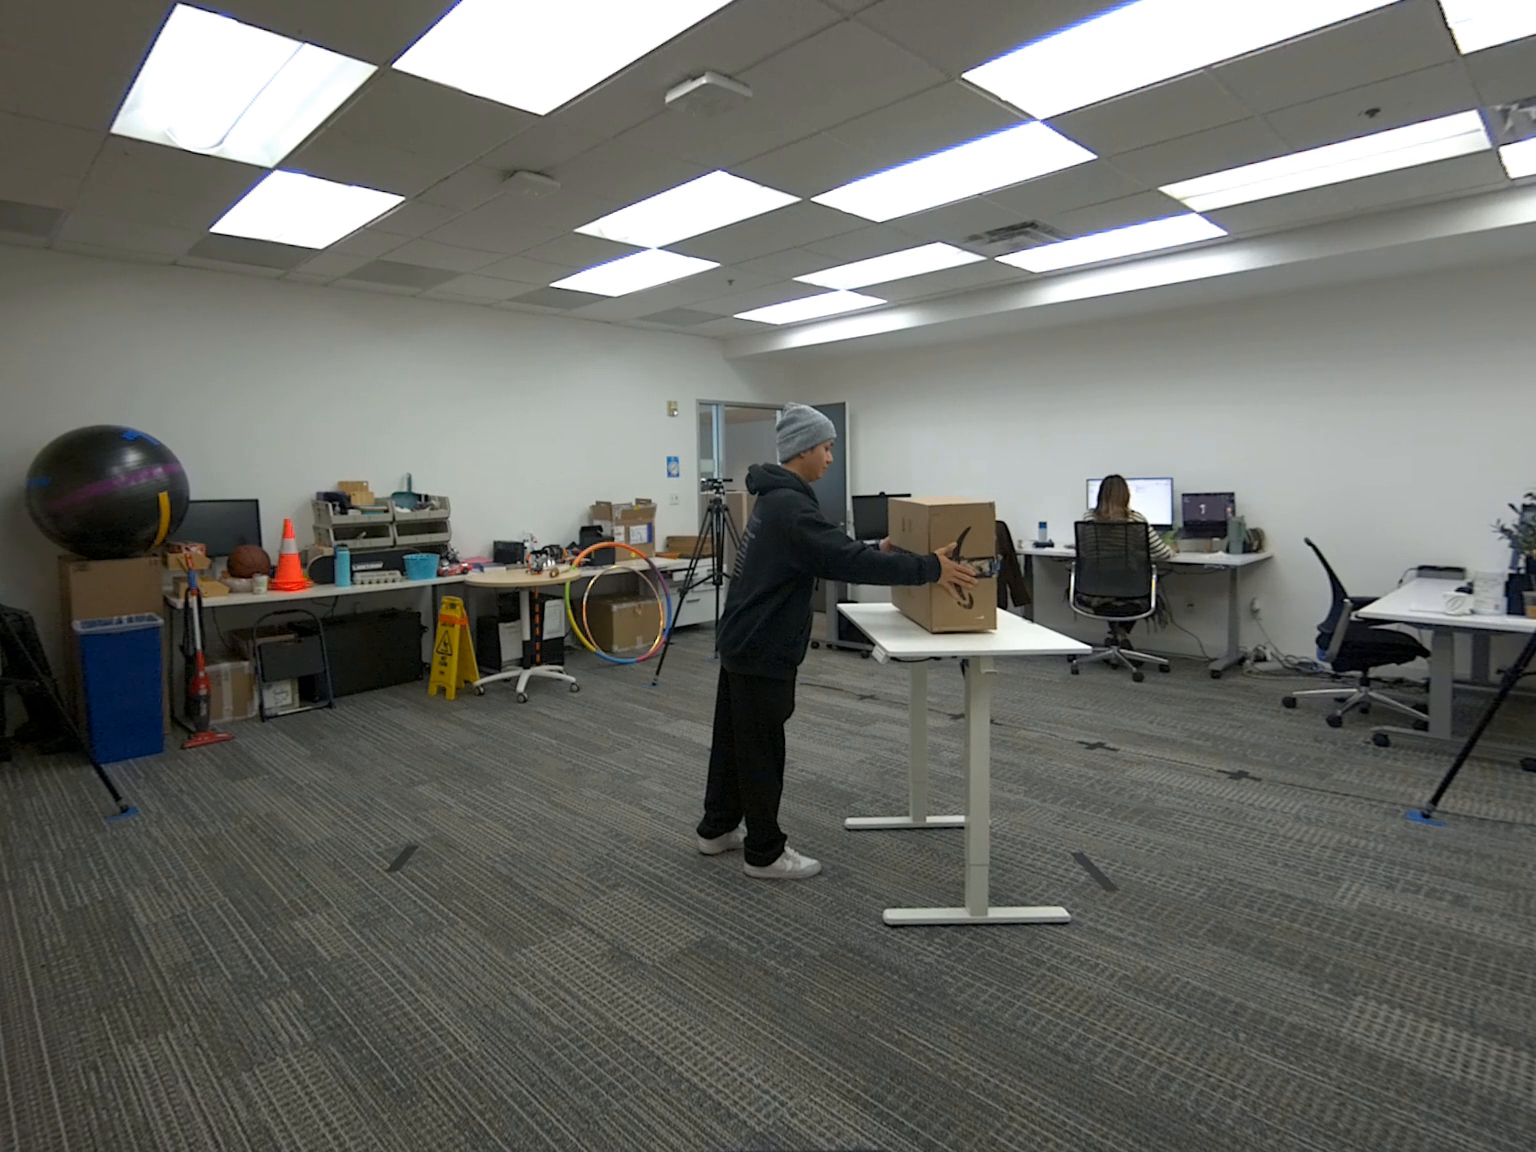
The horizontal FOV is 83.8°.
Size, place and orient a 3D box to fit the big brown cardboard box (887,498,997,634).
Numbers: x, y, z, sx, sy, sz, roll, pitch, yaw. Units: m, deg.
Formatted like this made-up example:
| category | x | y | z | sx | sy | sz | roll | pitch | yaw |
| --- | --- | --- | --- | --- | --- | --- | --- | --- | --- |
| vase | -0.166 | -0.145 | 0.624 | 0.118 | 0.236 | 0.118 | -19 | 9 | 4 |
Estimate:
| category | x | y | z | sx | sy | sz | roll | pitch | yaw |
| --- | --- | --- | --- | --- | --- | --- | --- | --- | --- |
| big brown cardboard box | 0.603 | -0.061 | 3.008 | 0.232 | 0.415 | 0.595 | -2 | 7 | -5 |
